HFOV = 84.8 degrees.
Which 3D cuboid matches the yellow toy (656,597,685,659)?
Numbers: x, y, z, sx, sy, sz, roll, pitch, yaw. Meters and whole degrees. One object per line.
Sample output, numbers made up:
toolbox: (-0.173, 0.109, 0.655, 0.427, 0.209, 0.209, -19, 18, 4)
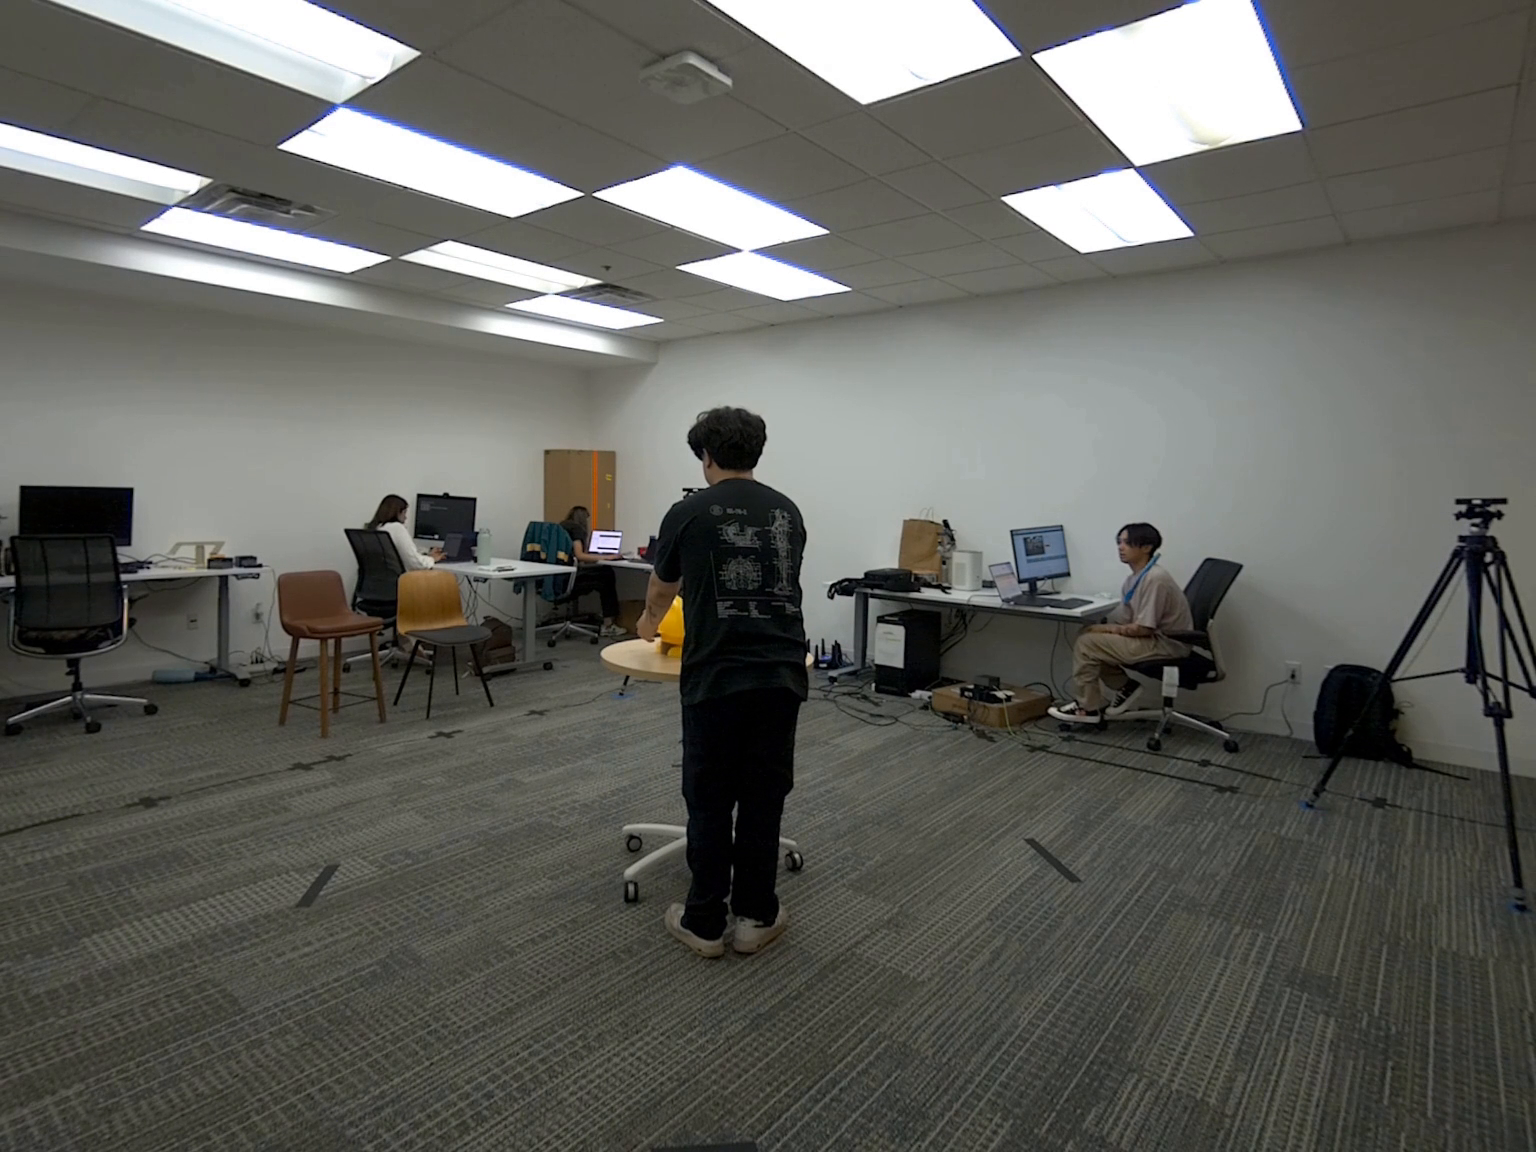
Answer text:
yellow toy: (-0.325, 0.164, 3.083, 0.187, 0.230, 0.211, -1, 4, -35)
